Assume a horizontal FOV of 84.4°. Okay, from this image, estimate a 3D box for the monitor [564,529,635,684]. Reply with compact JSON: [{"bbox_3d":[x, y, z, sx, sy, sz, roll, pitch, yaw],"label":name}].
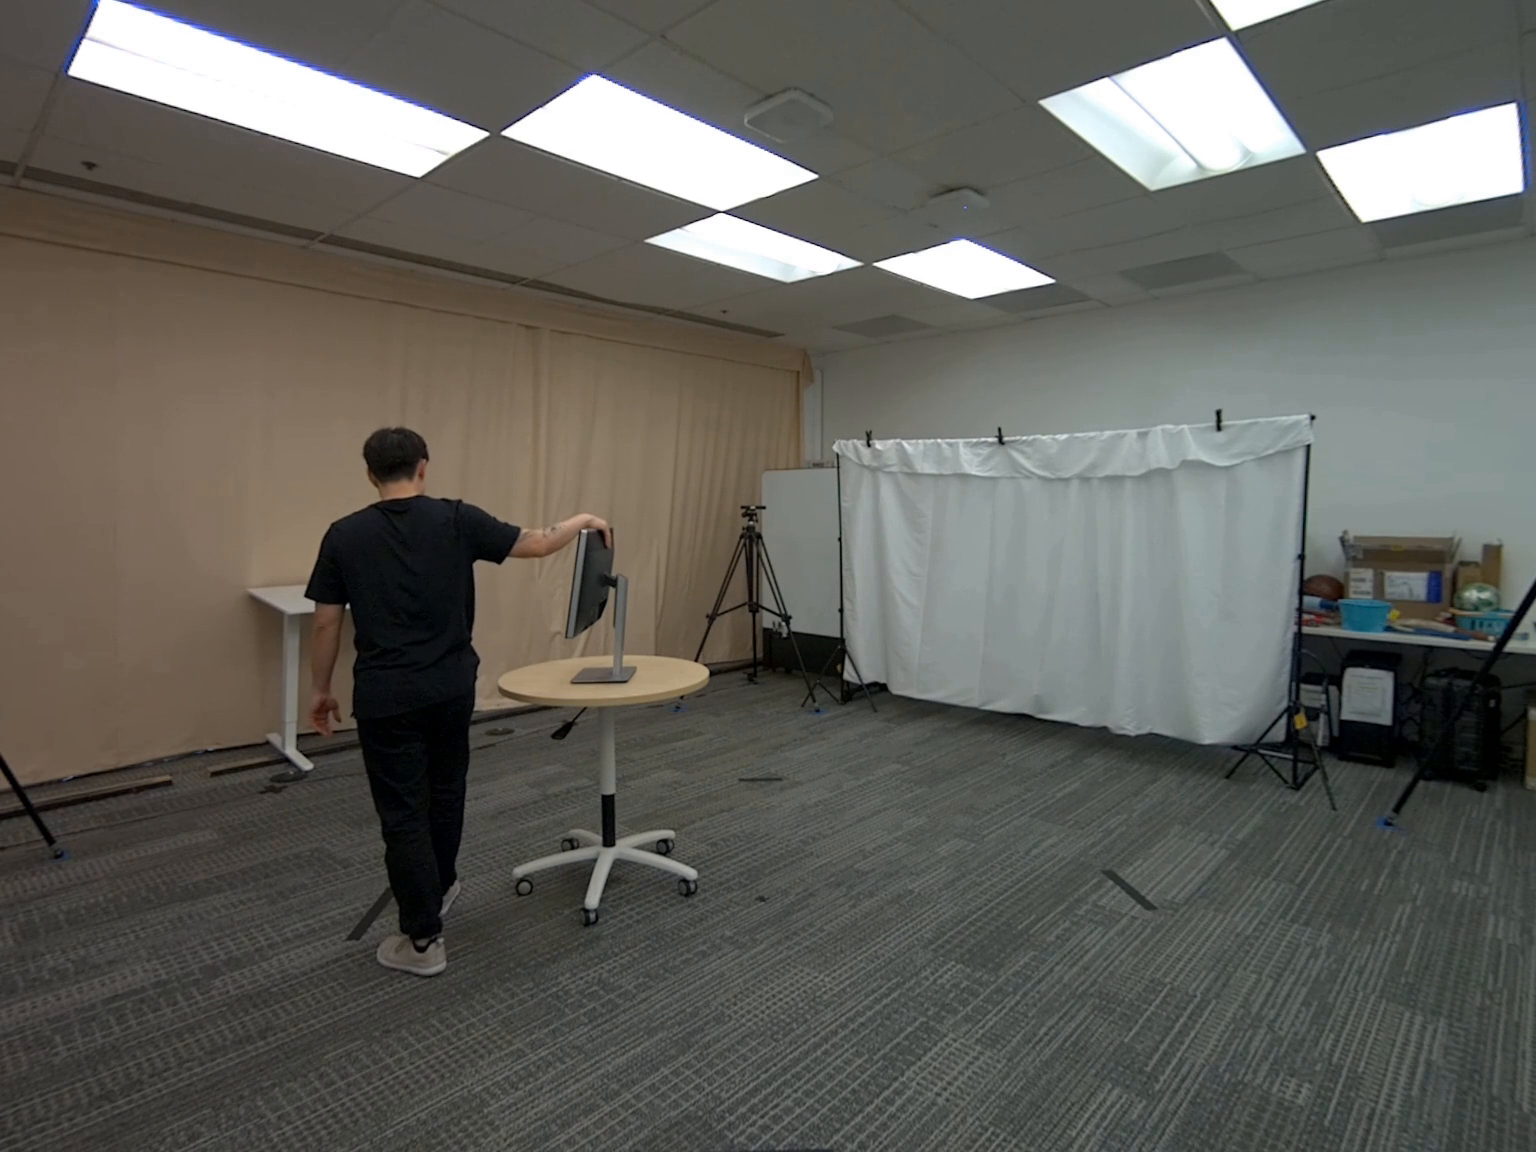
[{"bbox_3d":[-0.590,0.102,3.036,0.187,0.521,0.541,-2,3,-3],"label":"monitor"}]
